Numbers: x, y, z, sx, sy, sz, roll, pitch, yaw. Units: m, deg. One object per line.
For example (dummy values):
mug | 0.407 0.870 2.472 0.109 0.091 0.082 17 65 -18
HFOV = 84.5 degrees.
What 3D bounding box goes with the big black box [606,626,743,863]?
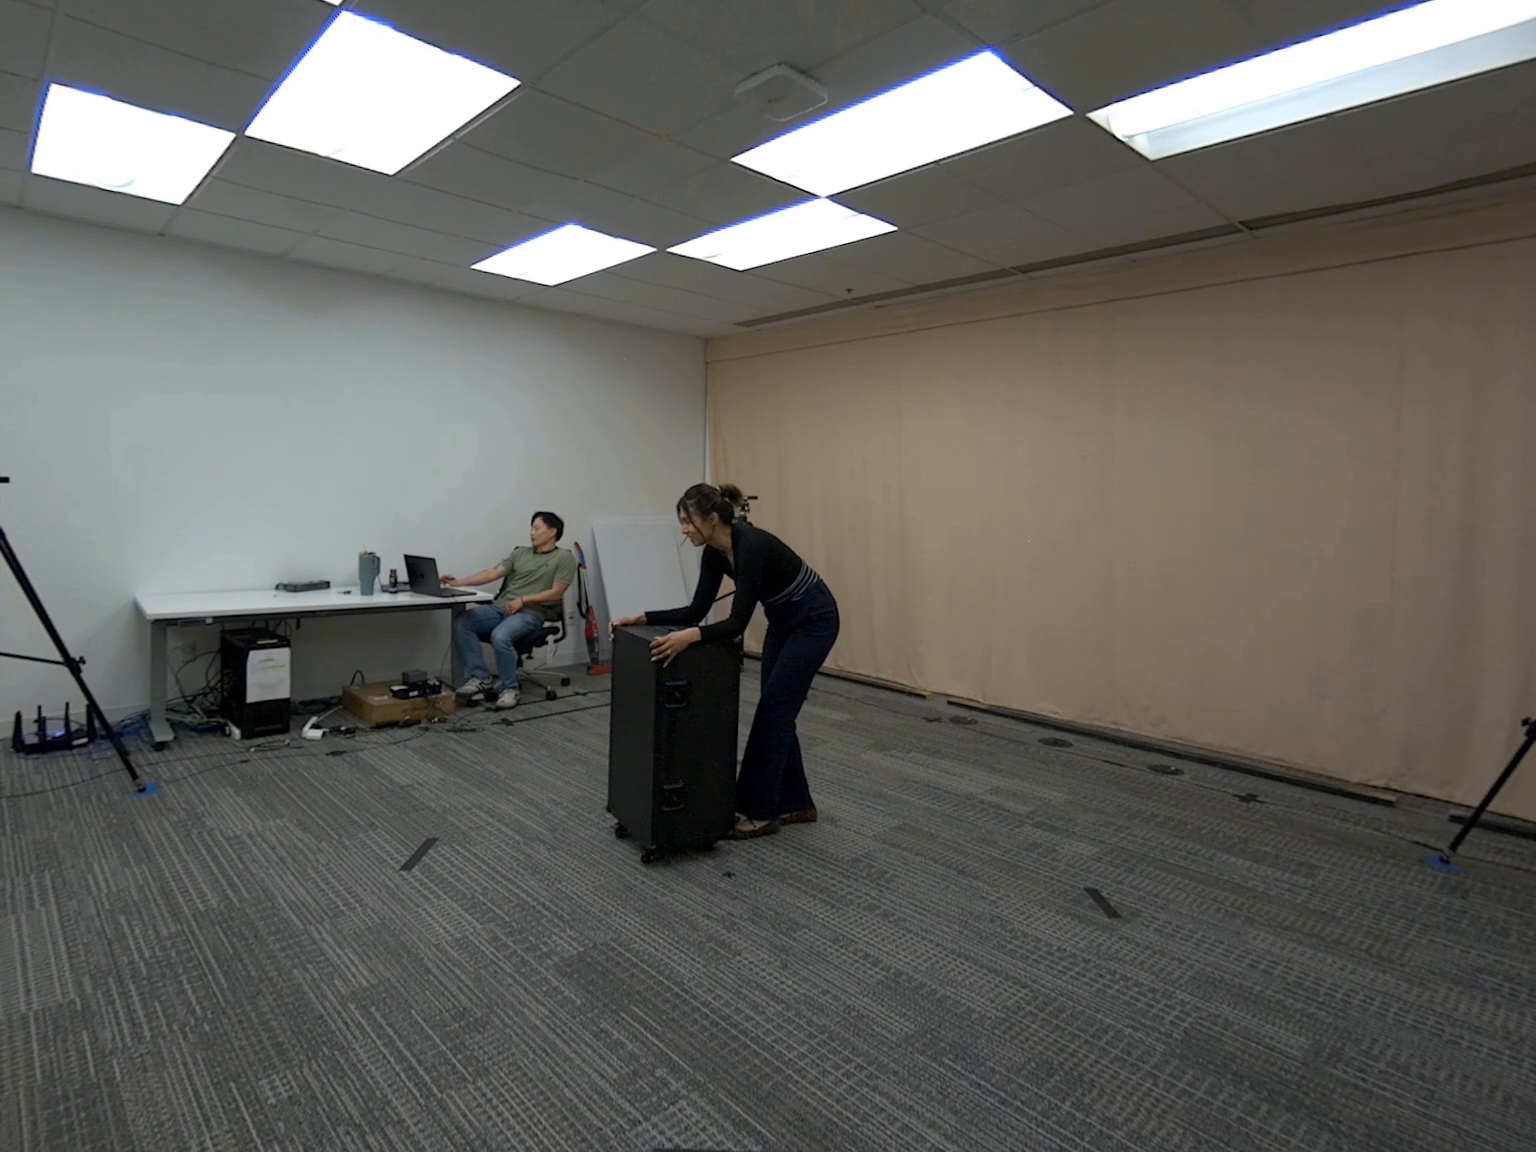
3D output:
big black box | -0.393 0.648 3.383 0.388 0.860 0.533 2 3 -29
